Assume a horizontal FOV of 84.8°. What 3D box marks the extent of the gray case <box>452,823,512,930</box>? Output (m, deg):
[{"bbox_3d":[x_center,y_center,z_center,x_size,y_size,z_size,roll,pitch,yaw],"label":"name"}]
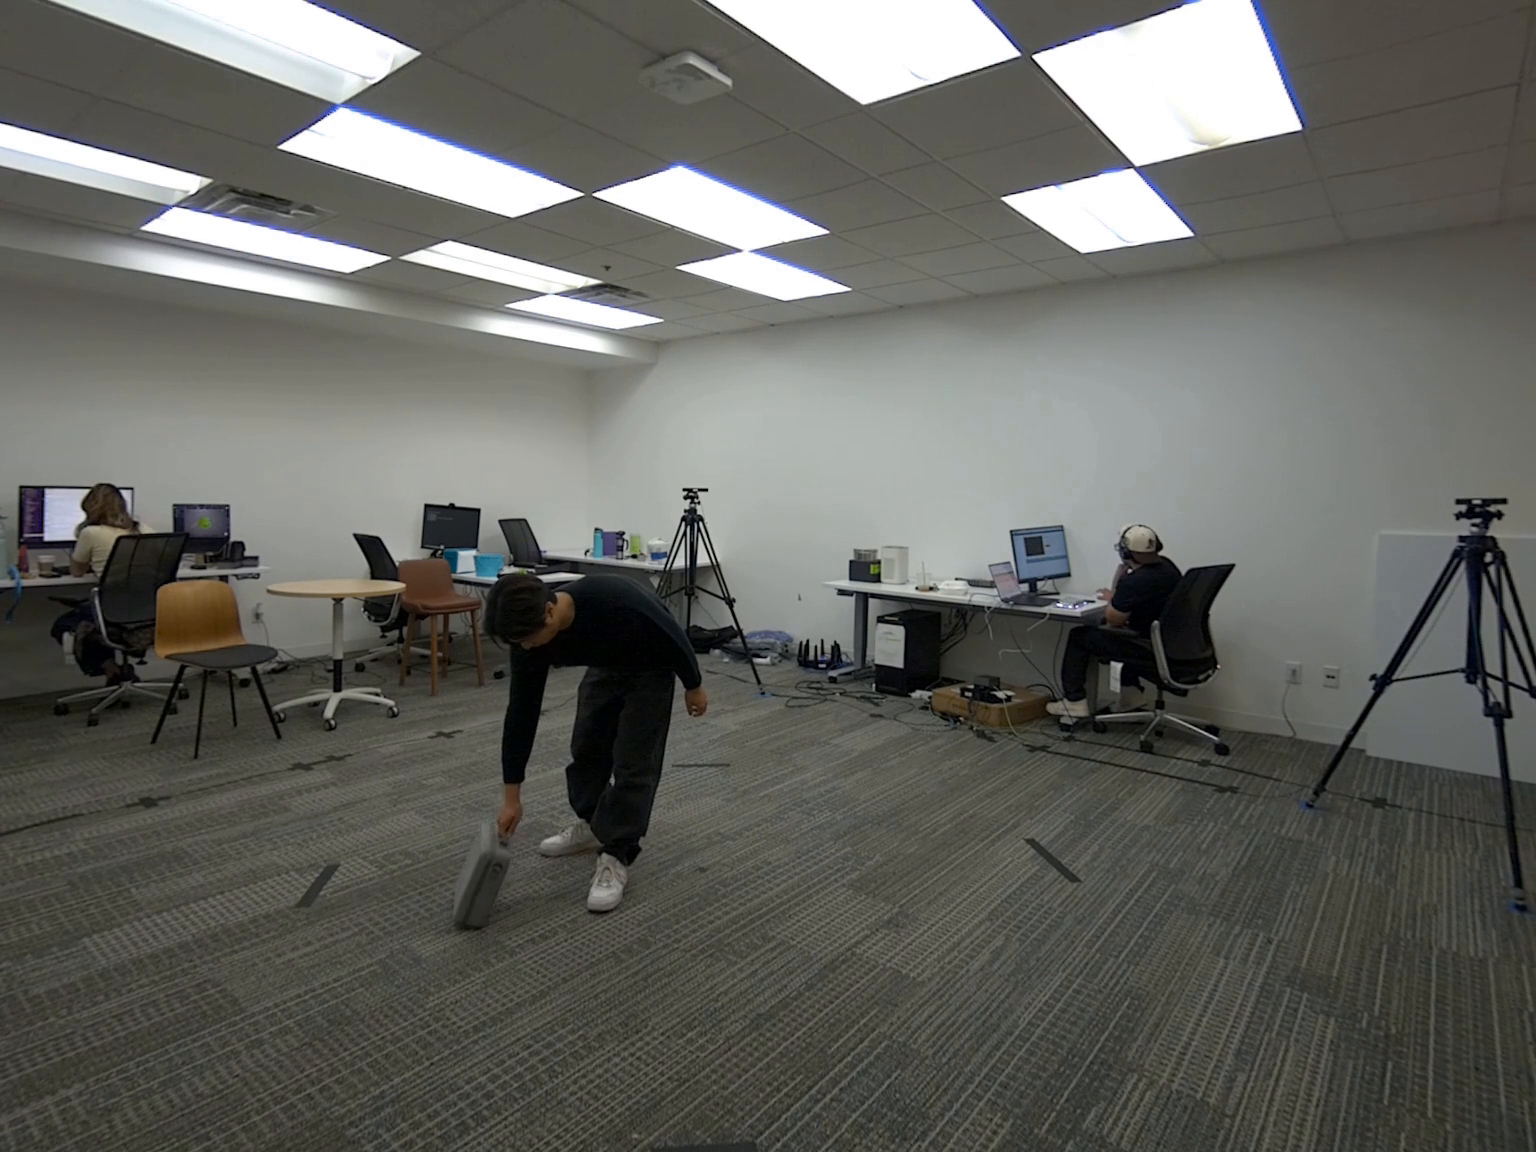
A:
[{"bbox_3d":[-0.935,0.960,2.764,0.102,0.261,0.262,20,-1,-18],"label":"gray case"}]
